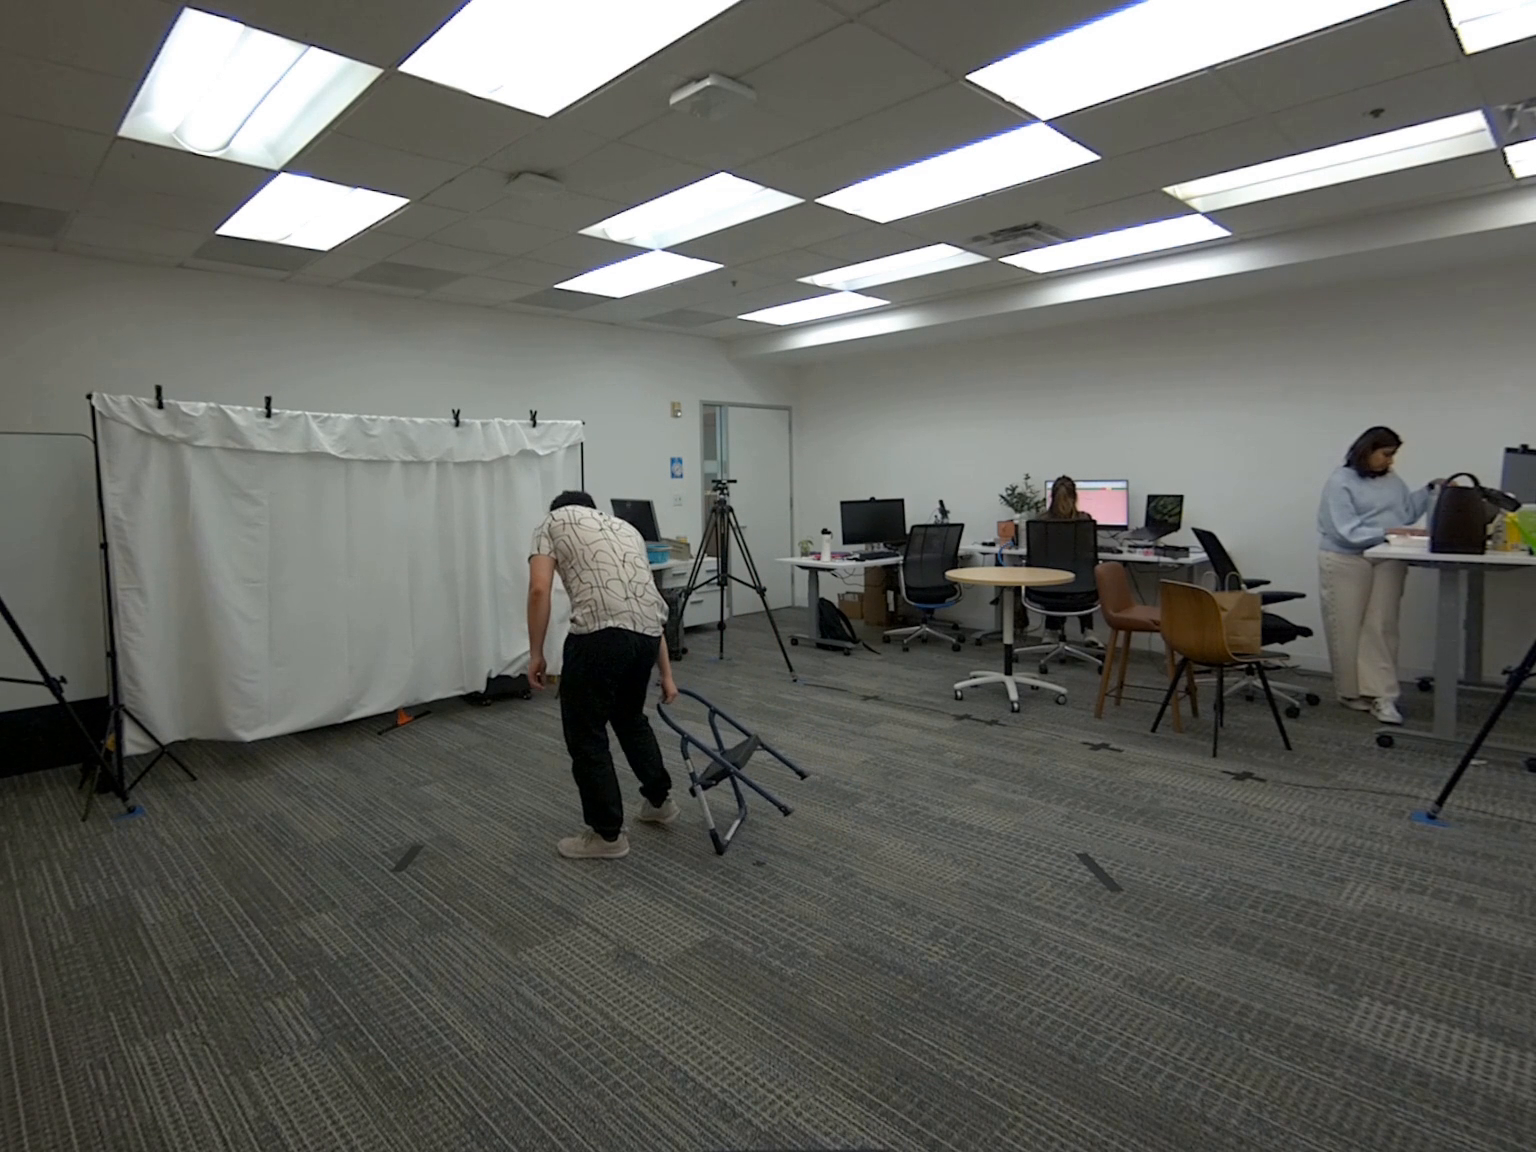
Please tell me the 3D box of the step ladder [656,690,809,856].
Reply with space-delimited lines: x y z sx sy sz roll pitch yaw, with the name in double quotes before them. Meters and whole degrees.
"step ladder" -0.178 0.682 3.378 0.350 0.611 0.426 -35 -5 13
